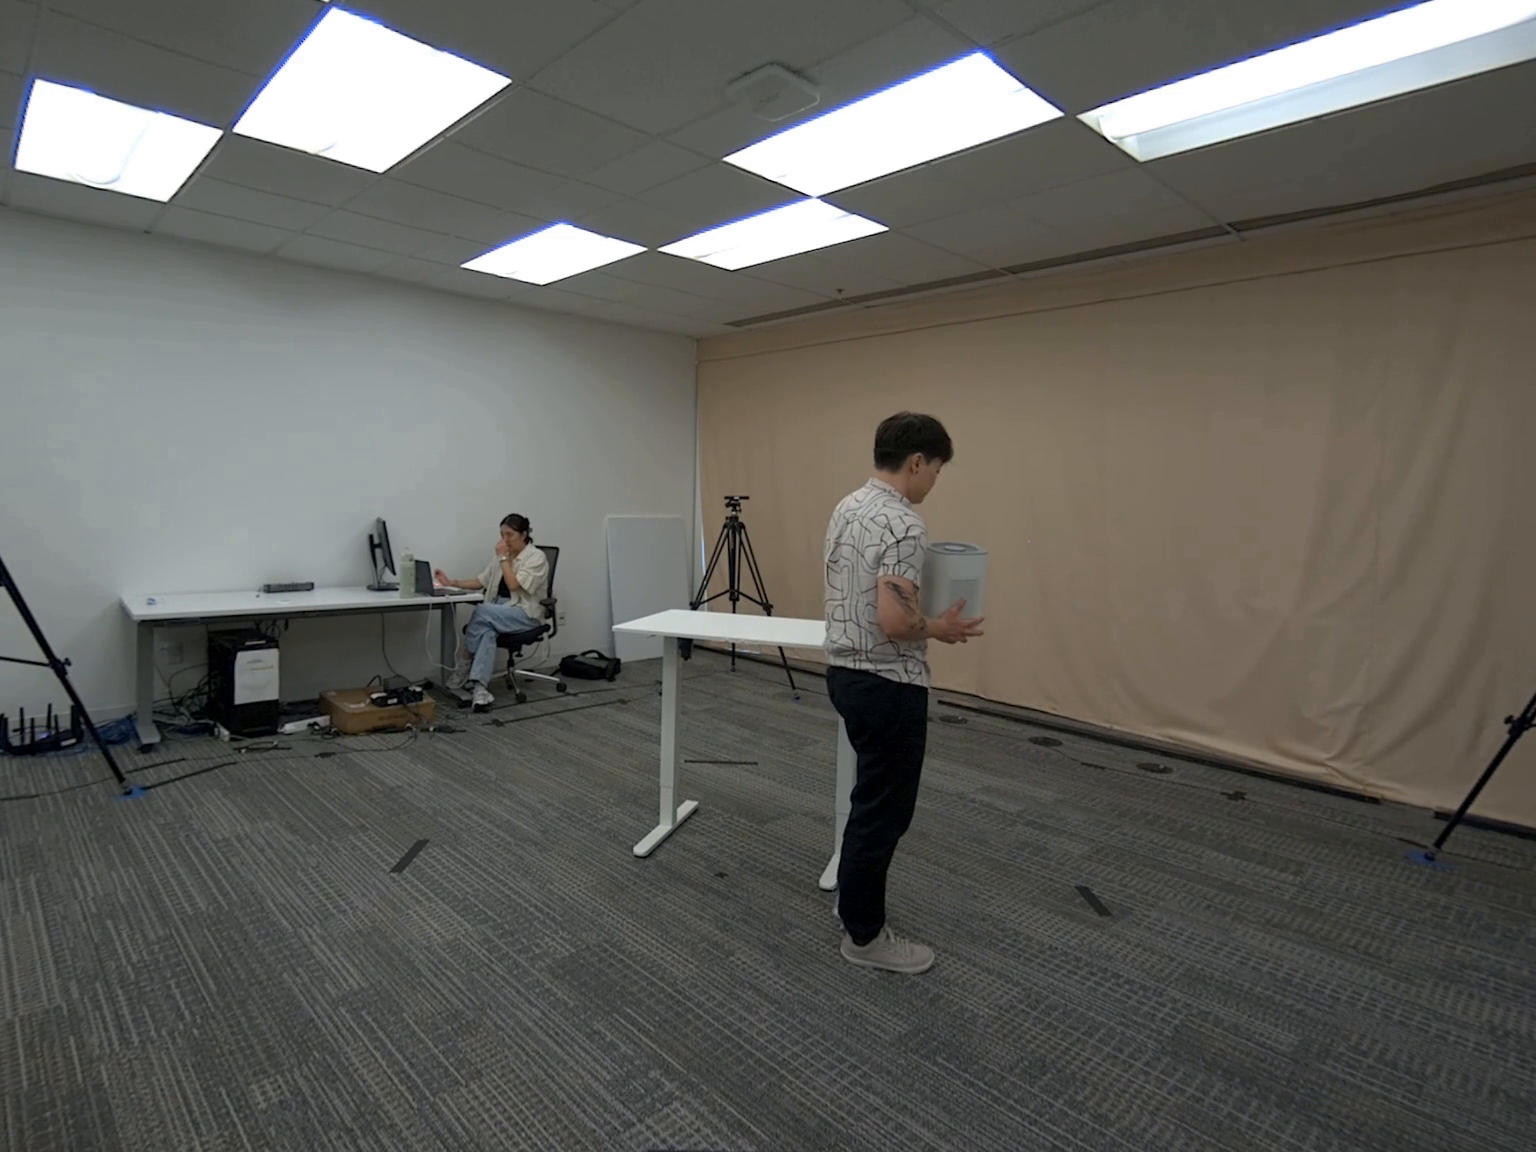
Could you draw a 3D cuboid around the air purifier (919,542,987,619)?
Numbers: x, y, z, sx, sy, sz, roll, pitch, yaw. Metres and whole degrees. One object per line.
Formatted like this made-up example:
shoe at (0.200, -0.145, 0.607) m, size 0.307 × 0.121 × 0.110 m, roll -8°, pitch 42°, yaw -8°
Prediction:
air purifier at (0.553, 0.039, 2.550) m, size 0.170 × 0.263 × 0.174 m, roll -1°, pitch 12°, yaw -11°
